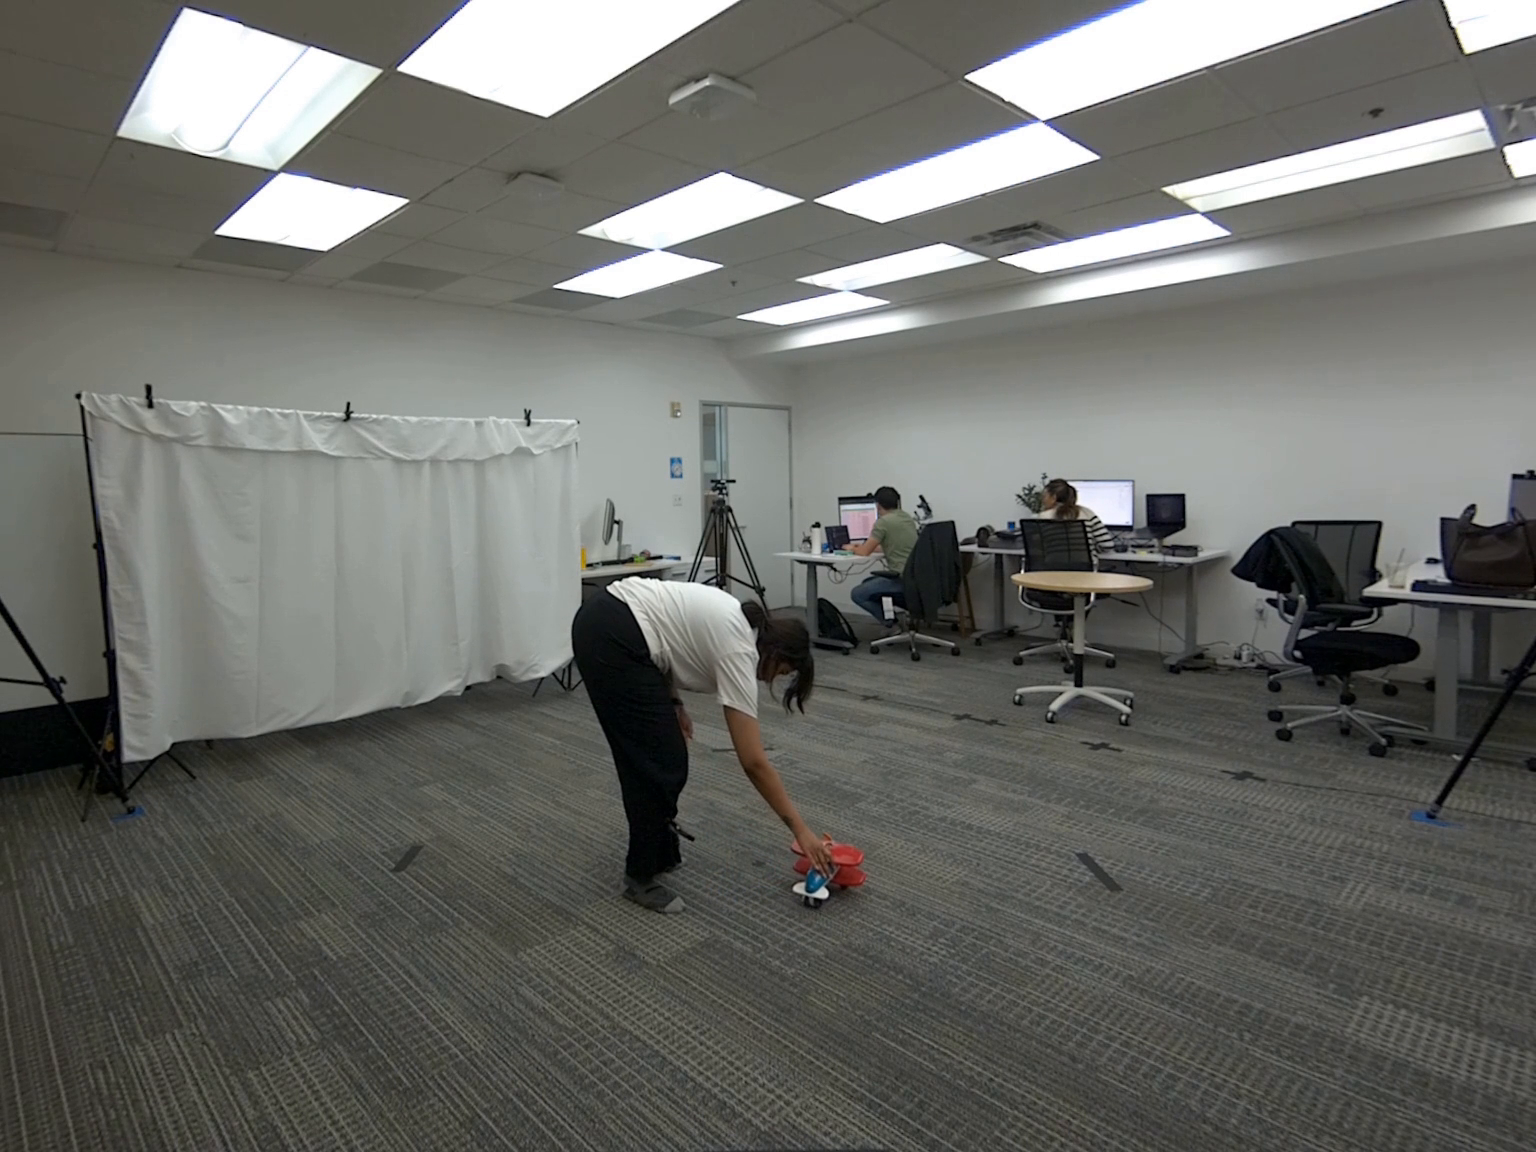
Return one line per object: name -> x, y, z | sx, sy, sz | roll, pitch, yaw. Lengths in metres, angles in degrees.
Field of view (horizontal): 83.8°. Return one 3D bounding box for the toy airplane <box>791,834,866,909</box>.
toy airplane -> 0.205, 0.991, 2.854 | 0.251, 0.156, 0.260 | 0, 5, -1
